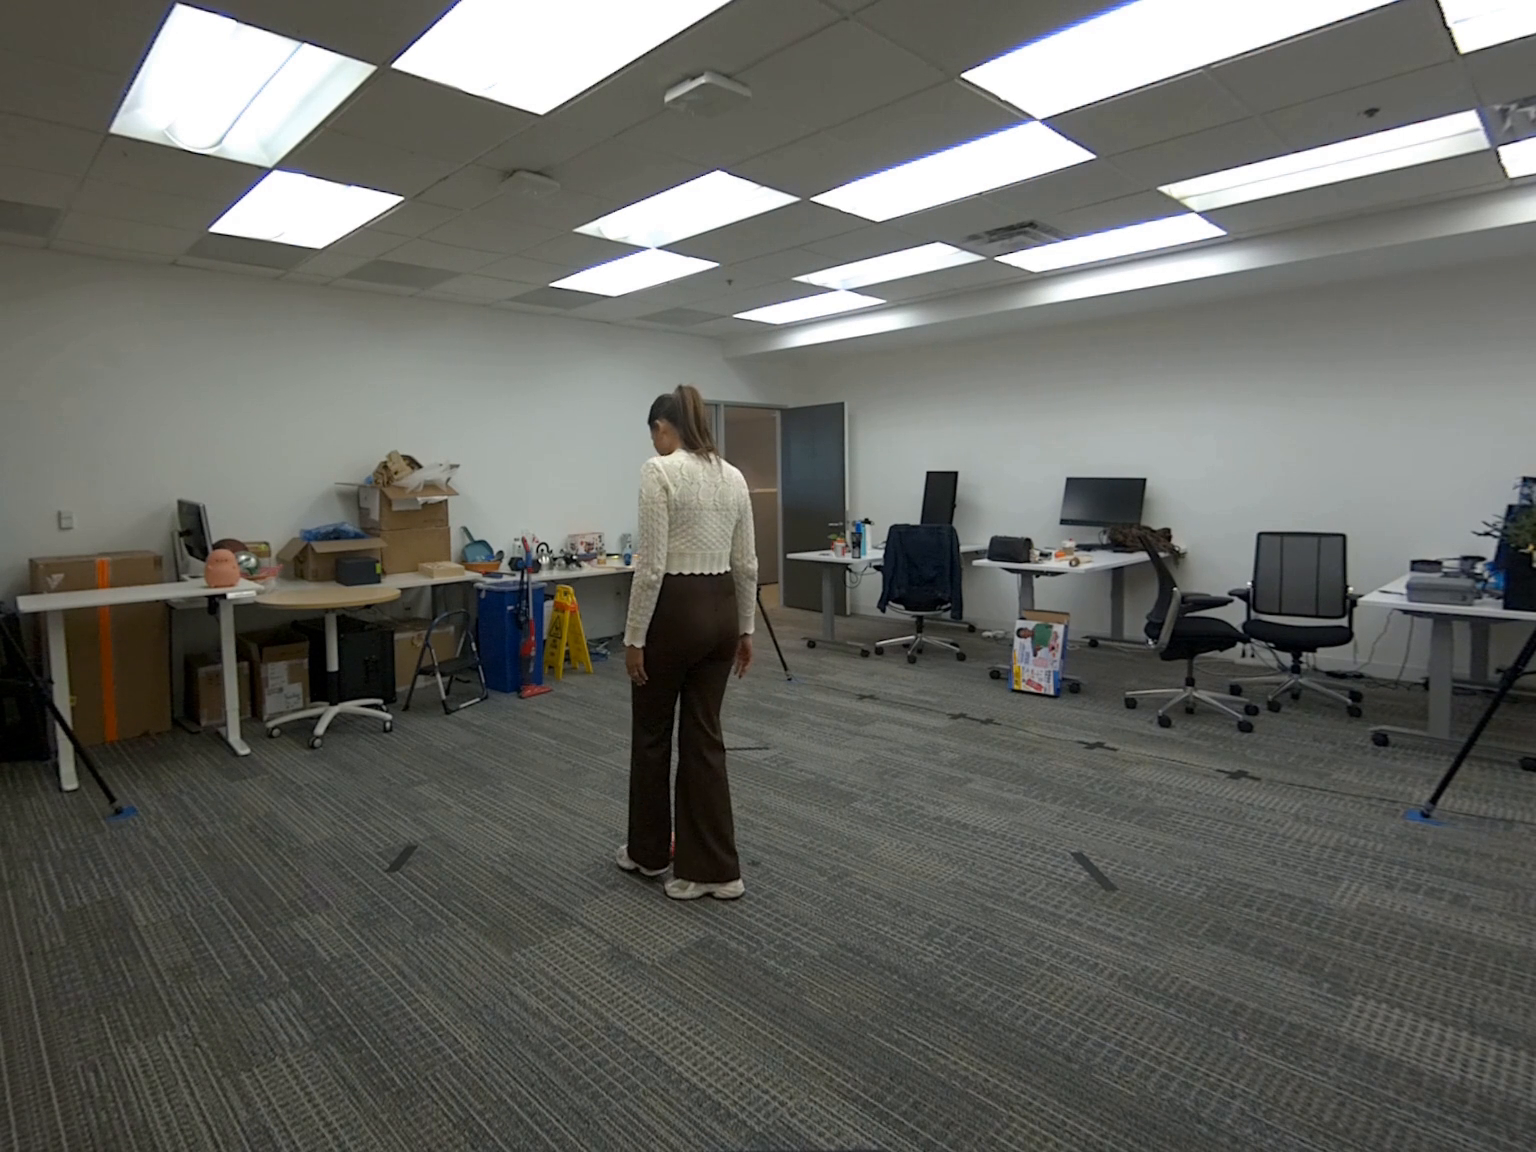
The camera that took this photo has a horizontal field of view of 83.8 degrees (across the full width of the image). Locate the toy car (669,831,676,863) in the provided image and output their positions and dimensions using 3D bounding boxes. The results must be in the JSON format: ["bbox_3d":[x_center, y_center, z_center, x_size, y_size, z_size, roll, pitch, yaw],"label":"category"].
[{"bbox_3d":[-0.337,1.008,3.188,0.250,0.082,0.134,-21,18,-37],"label":"toy car"}]
